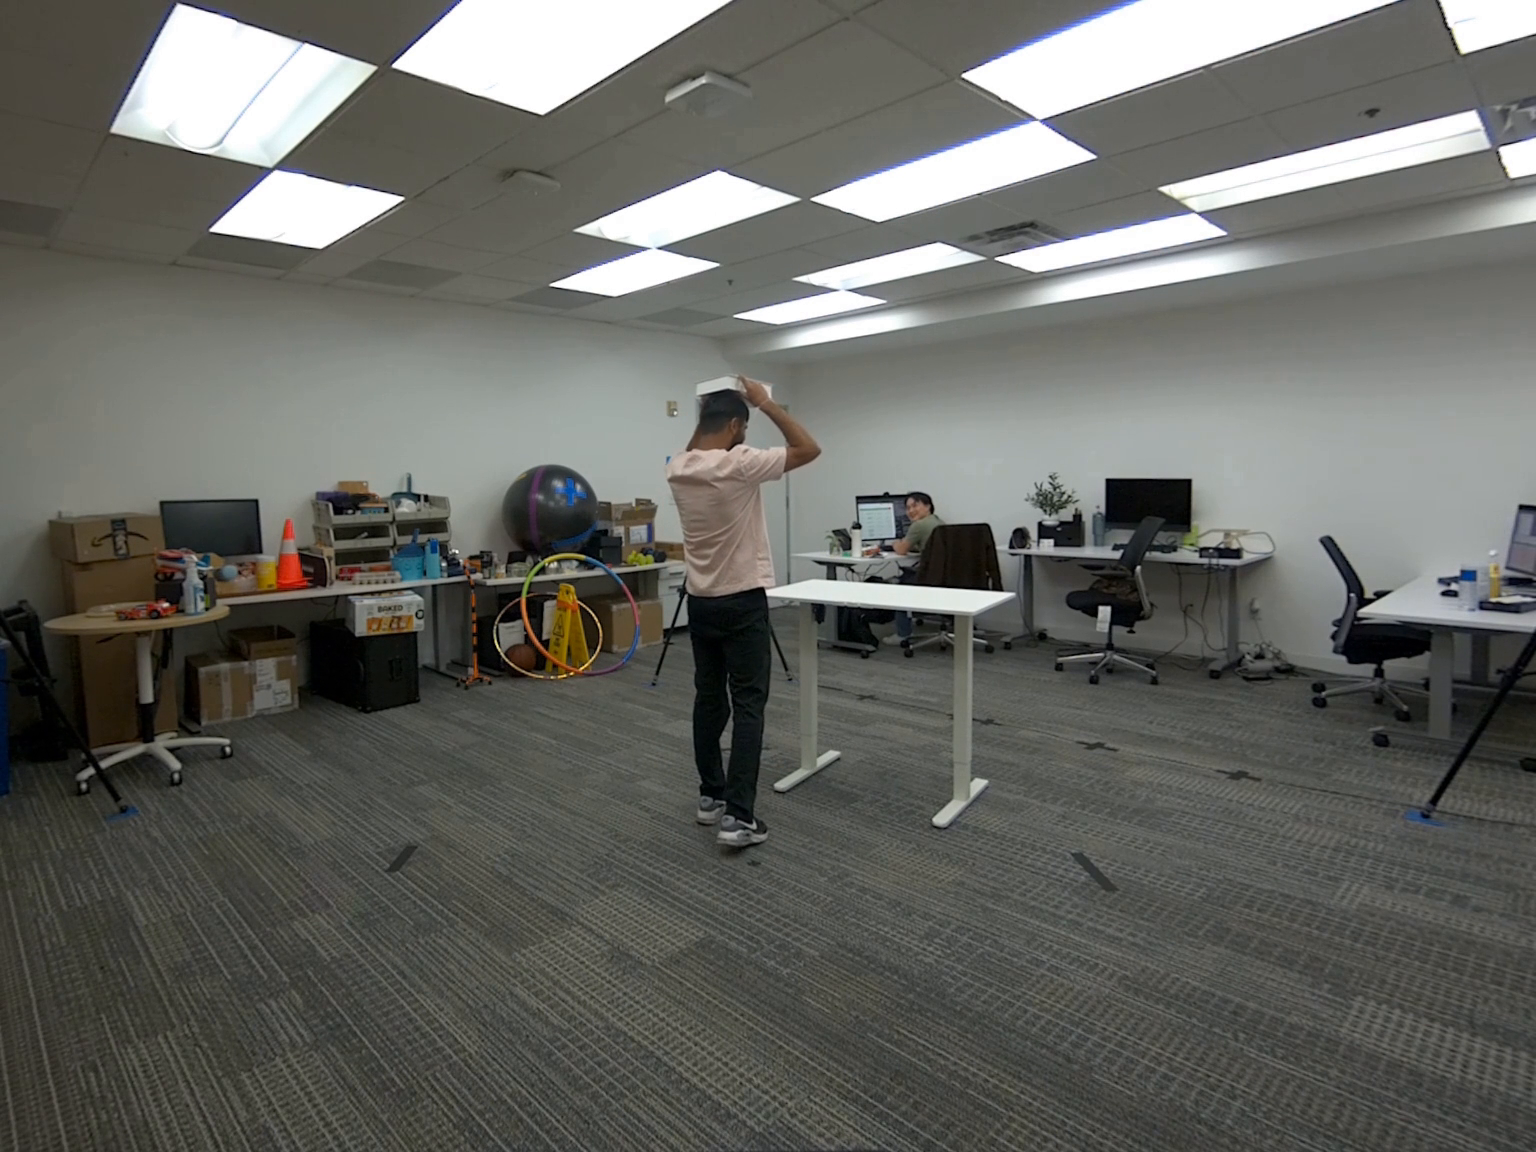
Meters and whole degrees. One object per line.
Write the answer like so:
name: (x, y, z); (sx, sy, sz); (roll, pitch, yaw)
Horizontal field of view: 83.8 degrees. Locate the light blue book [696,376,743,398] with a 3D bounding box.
light blue book: (-0.146, -0.752, 3.470); (0.196, 0.059, 0.253); (-2, -2, 44)
